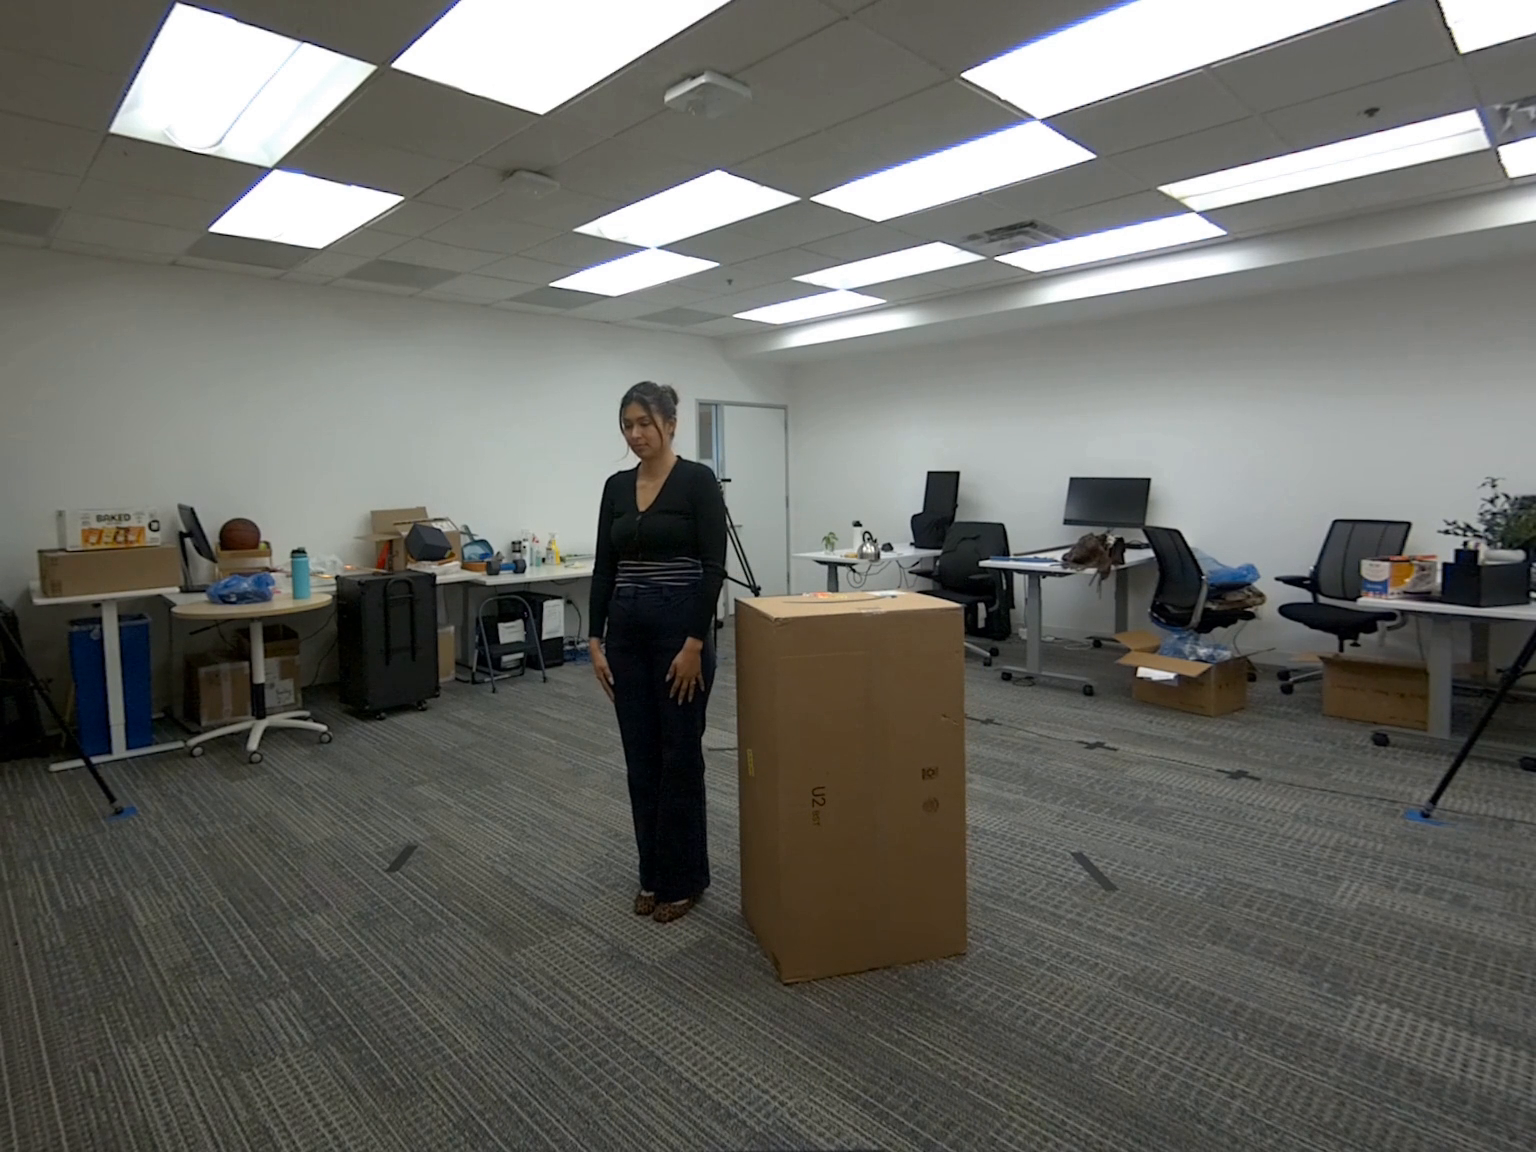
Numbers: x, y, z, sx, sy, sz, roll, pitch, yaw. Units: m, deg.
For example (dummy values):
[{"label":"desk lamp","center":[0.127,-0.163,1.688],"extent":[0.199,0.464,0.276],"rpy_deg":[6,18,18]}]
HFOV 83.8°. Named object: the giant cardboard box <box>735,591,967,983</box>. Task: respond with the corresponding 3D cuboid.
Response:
[{"label":"giant cardboard box","center":[0.244,0.588,2.589],"extent":[0.569,1.022,0.434],"rpy_deg":[-3,4,-16]}]
